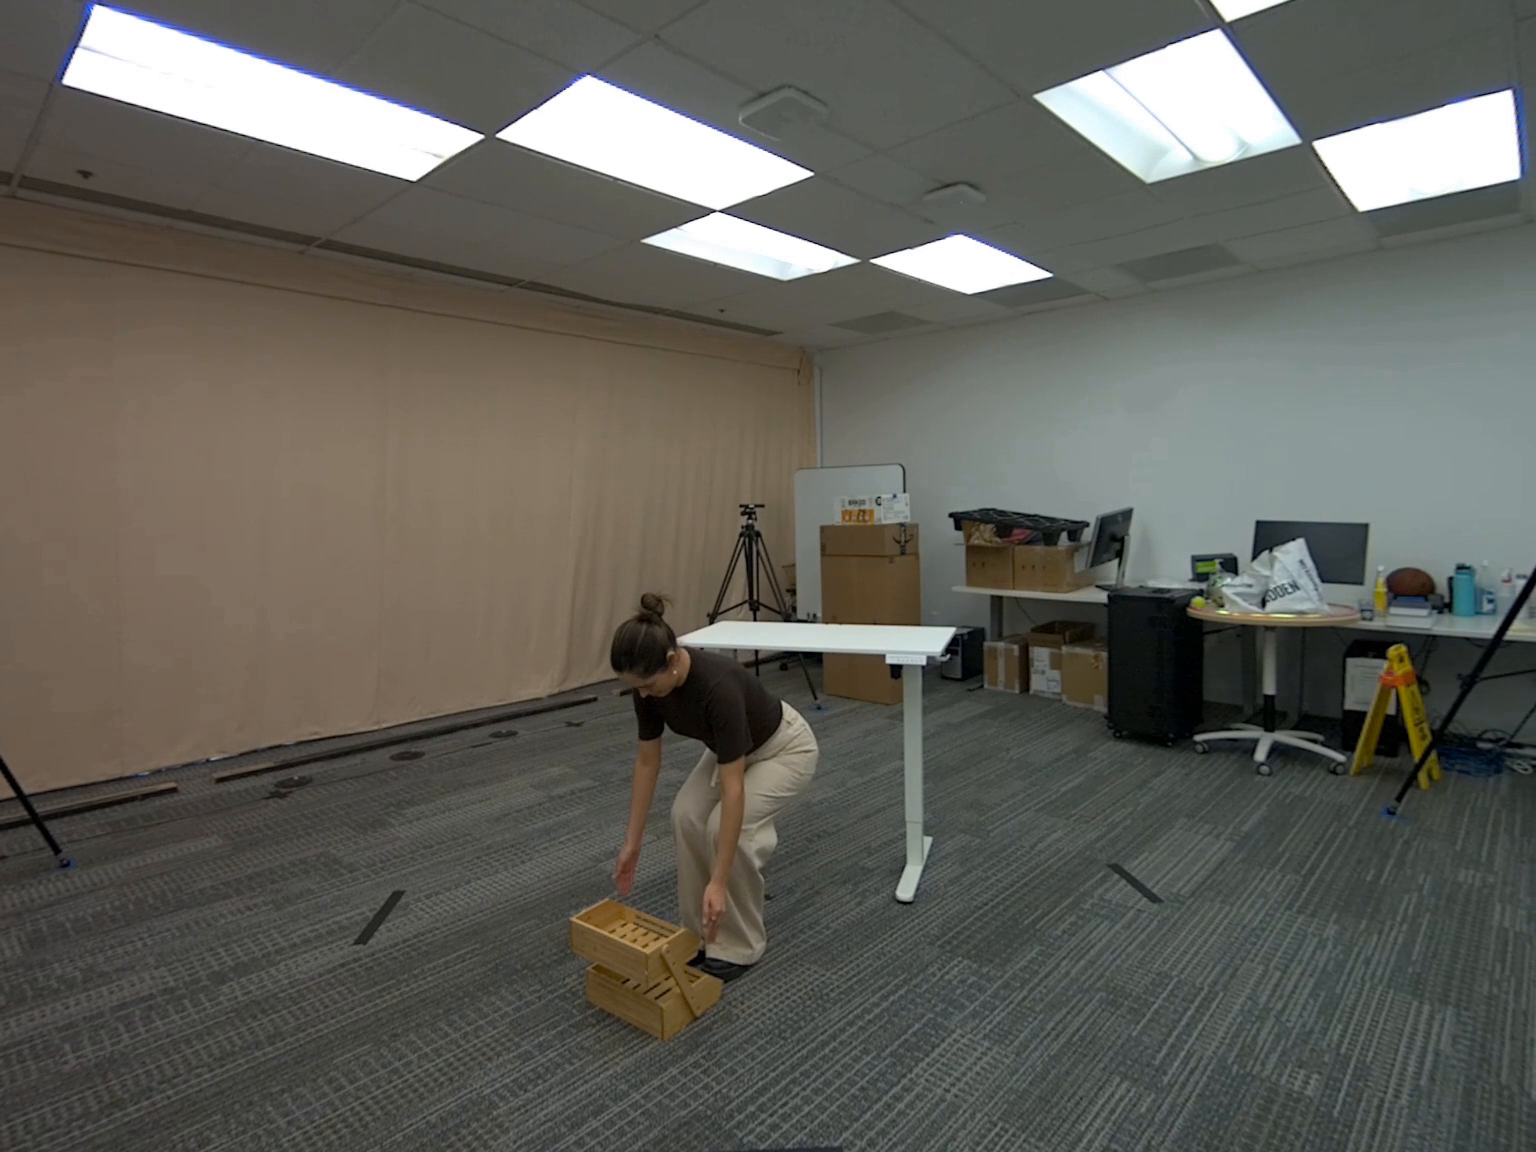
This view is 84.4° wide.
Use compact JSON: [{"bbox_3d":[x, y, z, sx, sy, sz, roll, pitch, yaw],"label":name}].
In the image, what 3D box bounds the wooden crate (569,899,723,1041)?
[{"bbox_3d":[-0.333,1.061,2.358,0.335,0.272,0.293,2,6,37],"label":"wooden crate"}]
